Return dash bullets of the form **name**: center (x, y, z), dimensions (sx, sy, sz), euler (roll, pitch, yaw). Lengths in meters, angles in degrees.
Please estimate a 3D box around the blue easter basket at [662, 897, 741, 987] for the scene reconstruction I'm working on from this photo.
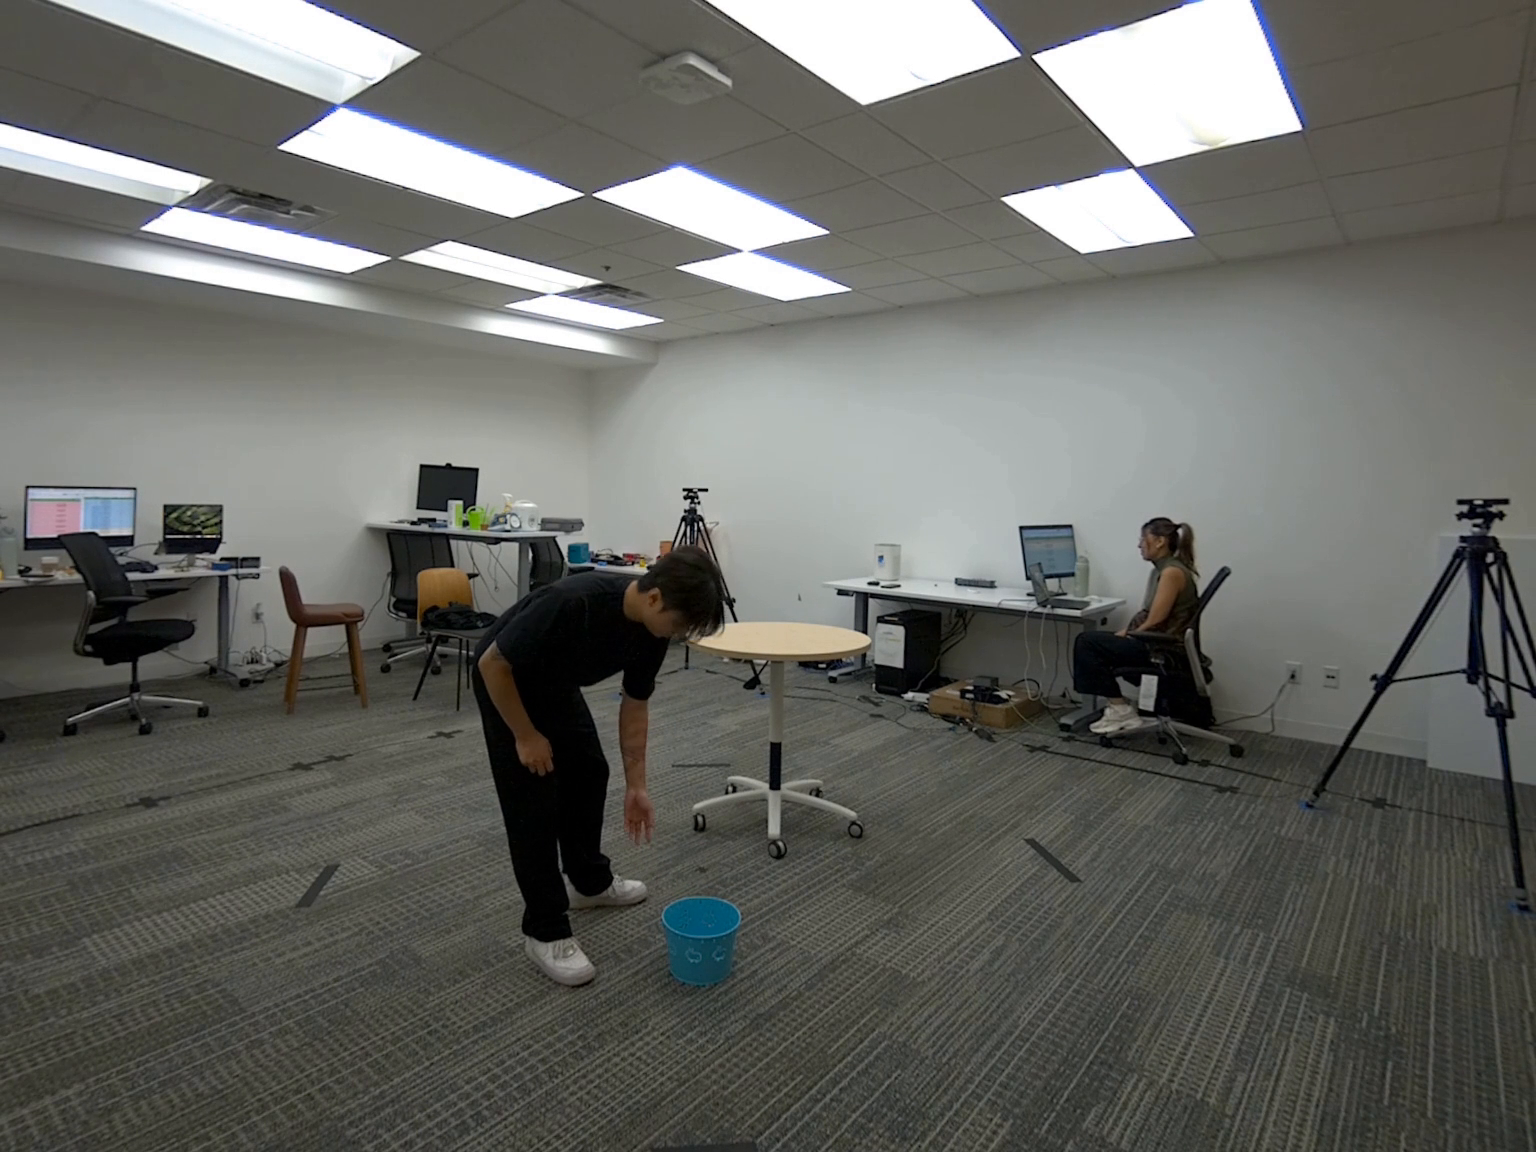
- **blue easter basket**: center (-0.199, 1.055, 2.468), dimensions (0.243, 0.155, 0.245), euler (1, 5, -2)
